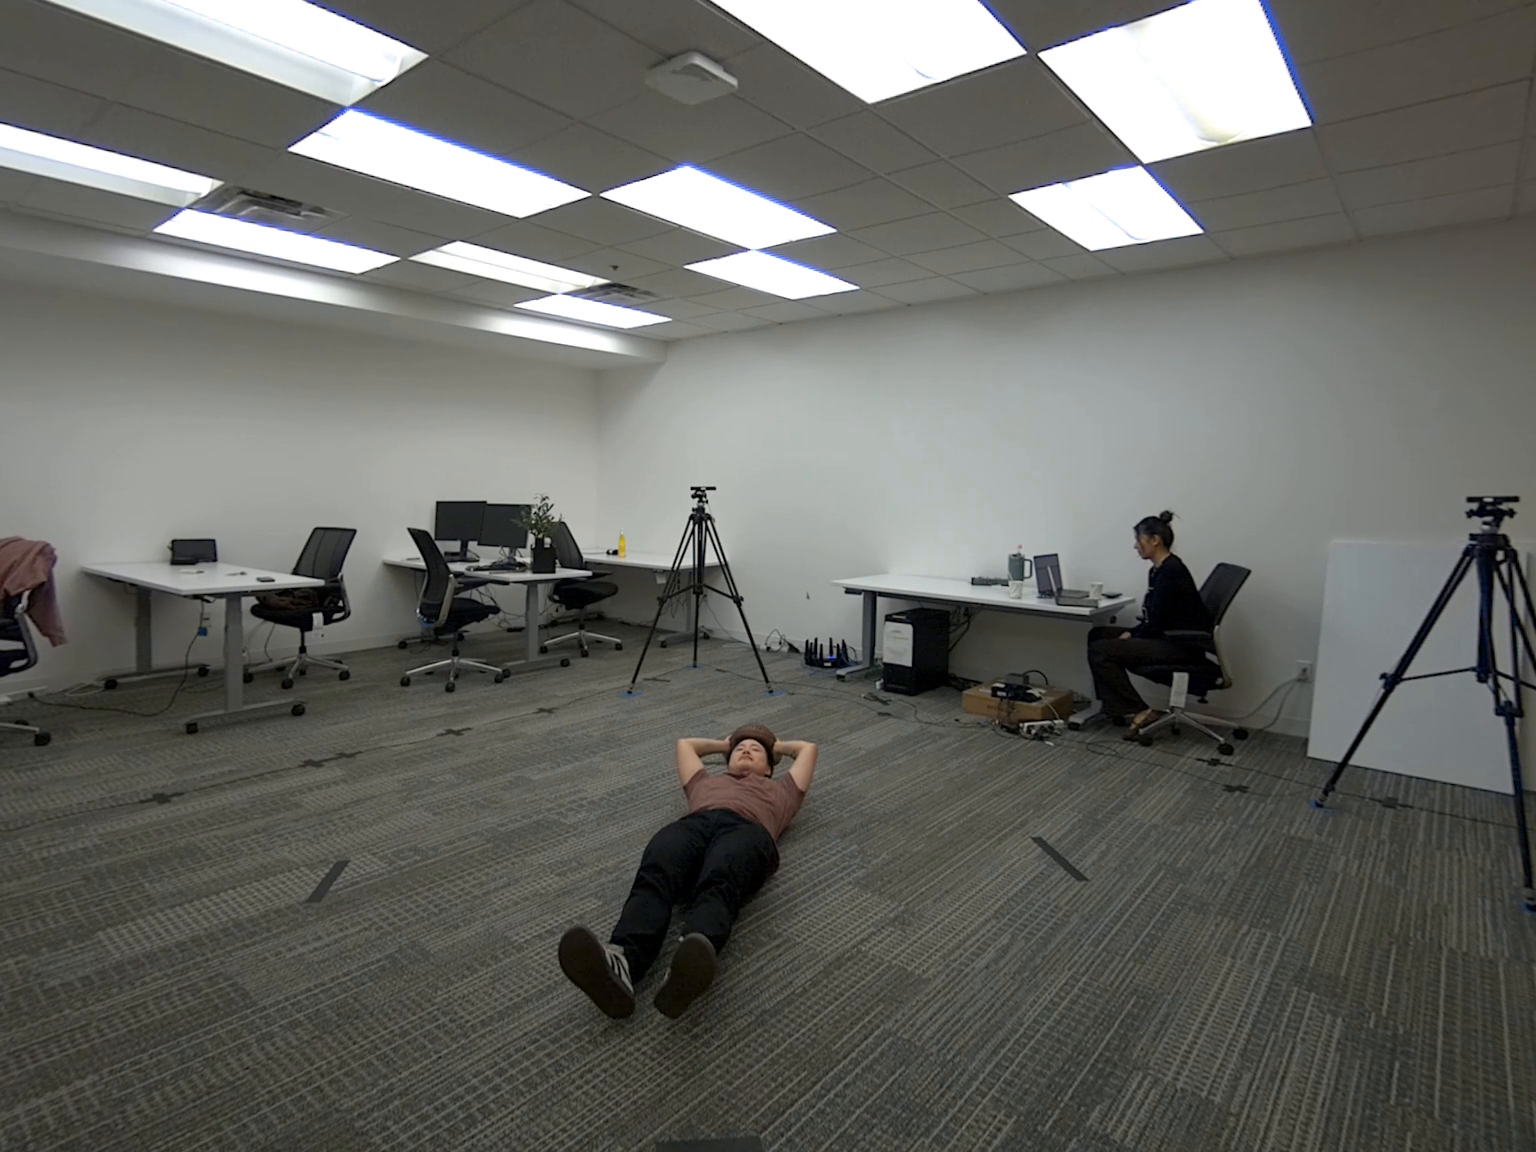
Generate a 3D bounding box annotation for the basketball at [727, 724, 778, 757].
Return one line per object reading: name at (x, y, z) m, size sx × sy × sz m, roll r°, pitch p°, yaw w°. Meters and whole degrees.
basketball at (-0.077, 0.796, 3.964) m, size 0.236 × 0.235 × 0.237 m, roll -3°, pitch 3°, yaw -2°
